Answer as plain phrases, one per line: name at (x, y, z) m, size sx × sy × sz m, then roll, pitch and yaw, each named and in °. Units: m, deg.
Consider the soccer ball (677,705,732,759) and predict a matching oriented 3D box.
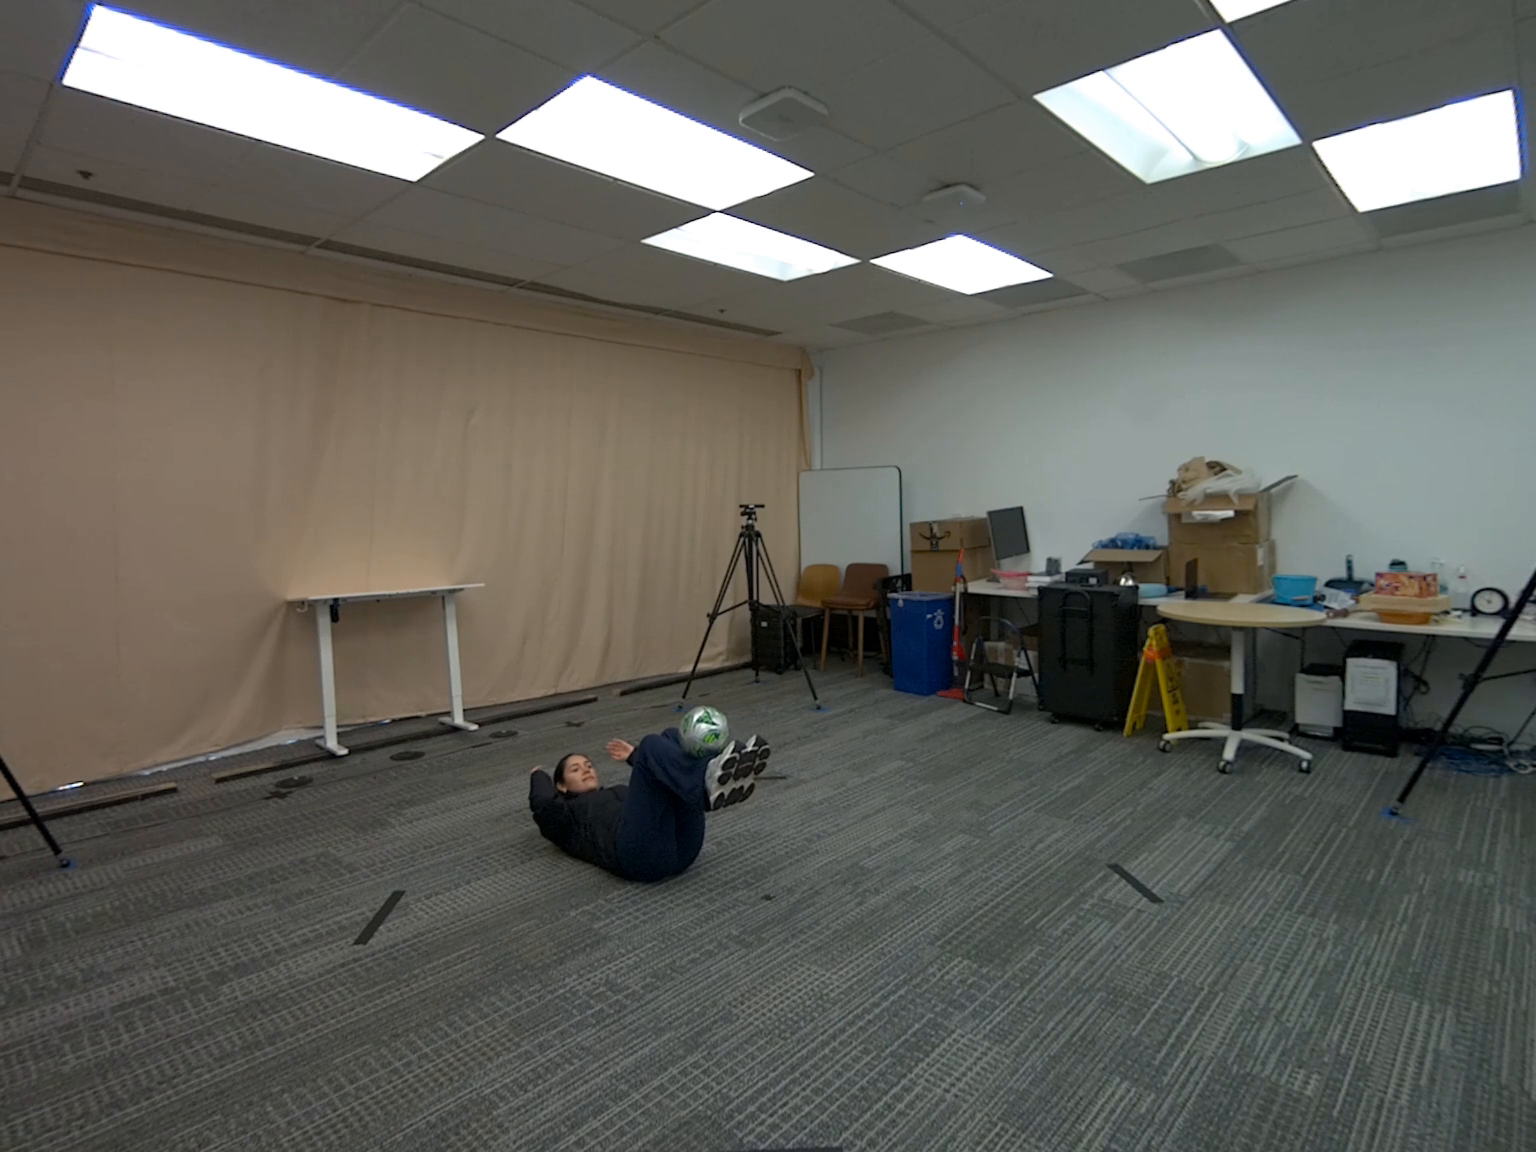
soccer ball at (-0.221, 0.554, 2.958) m, size 0.187 × 0.187 × 0.188 m, roll 2°, pitch 5°, yaw -2°
